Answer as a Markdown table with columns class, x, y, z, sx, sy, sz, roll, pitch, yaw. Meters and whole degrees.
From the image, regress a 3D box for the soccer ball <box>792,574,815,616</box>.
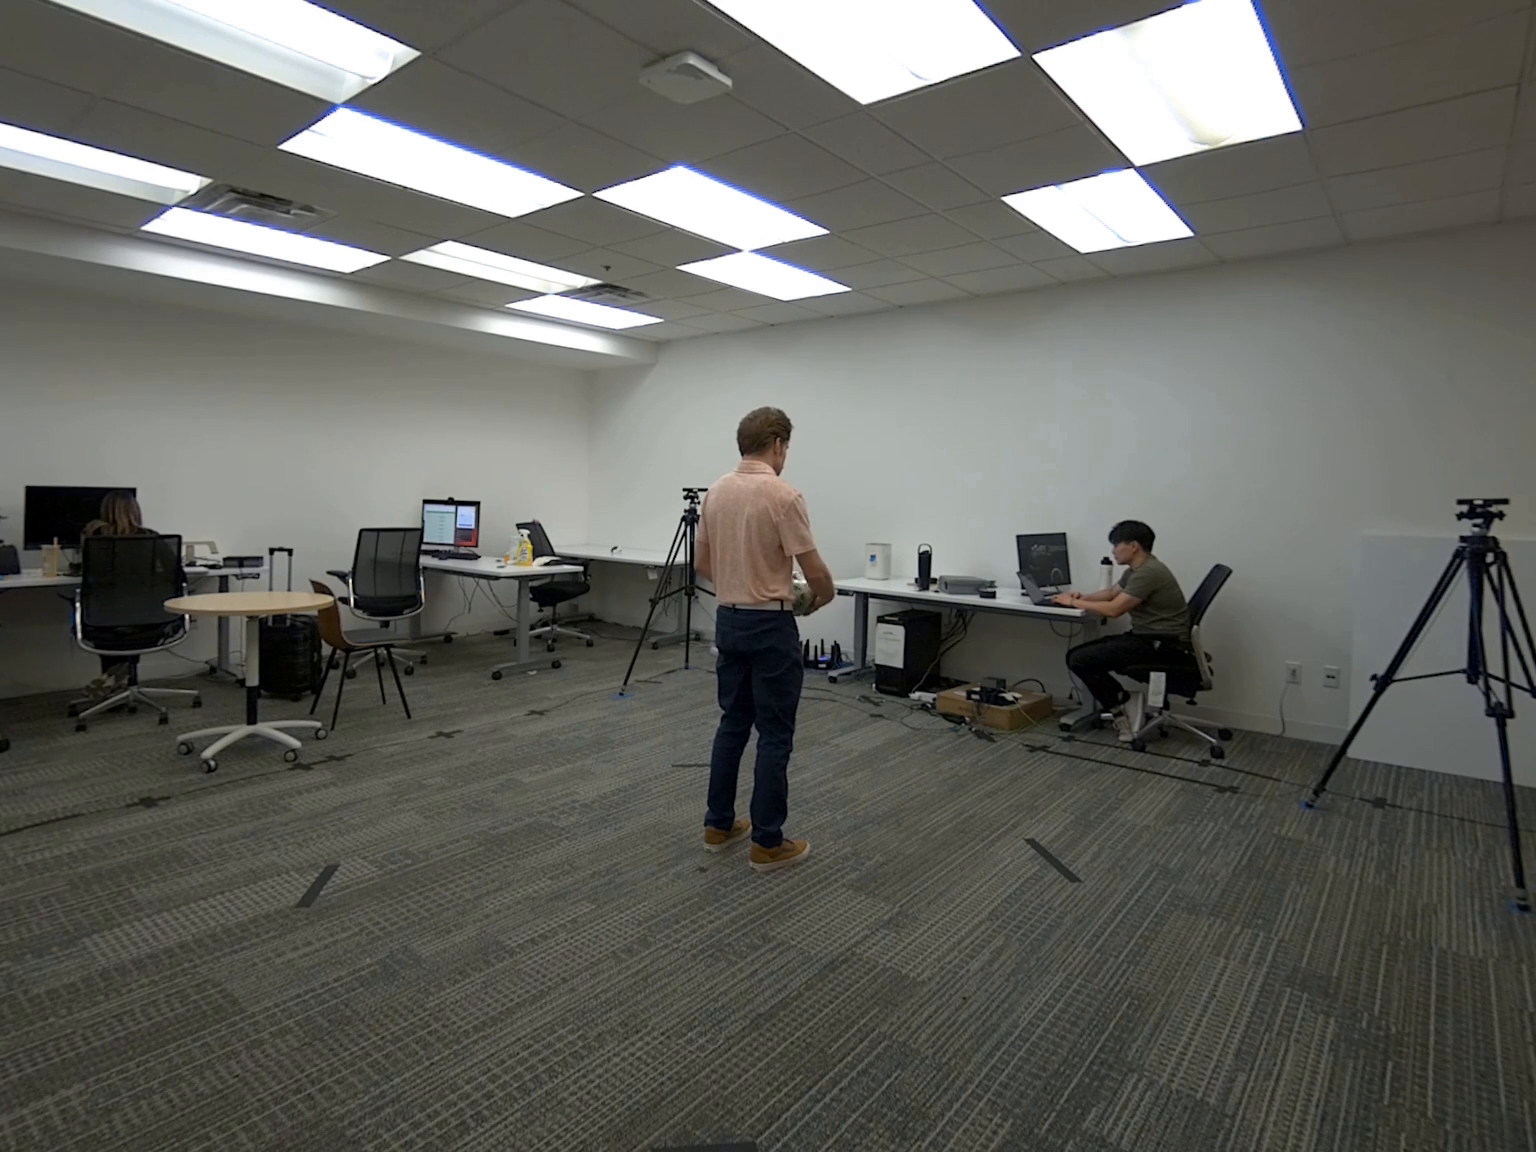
| class | x | y | z | sx | sy | sz | roll | pitch | yaw |
| --- | --- | --- | --- | --- | --- | --- | --- | --- | --- |
| soccer ball | 0.118 | 0.075 | 3.450 | 0.187 | 0.187 | 0.188 | 1 | 4 | -2 |
